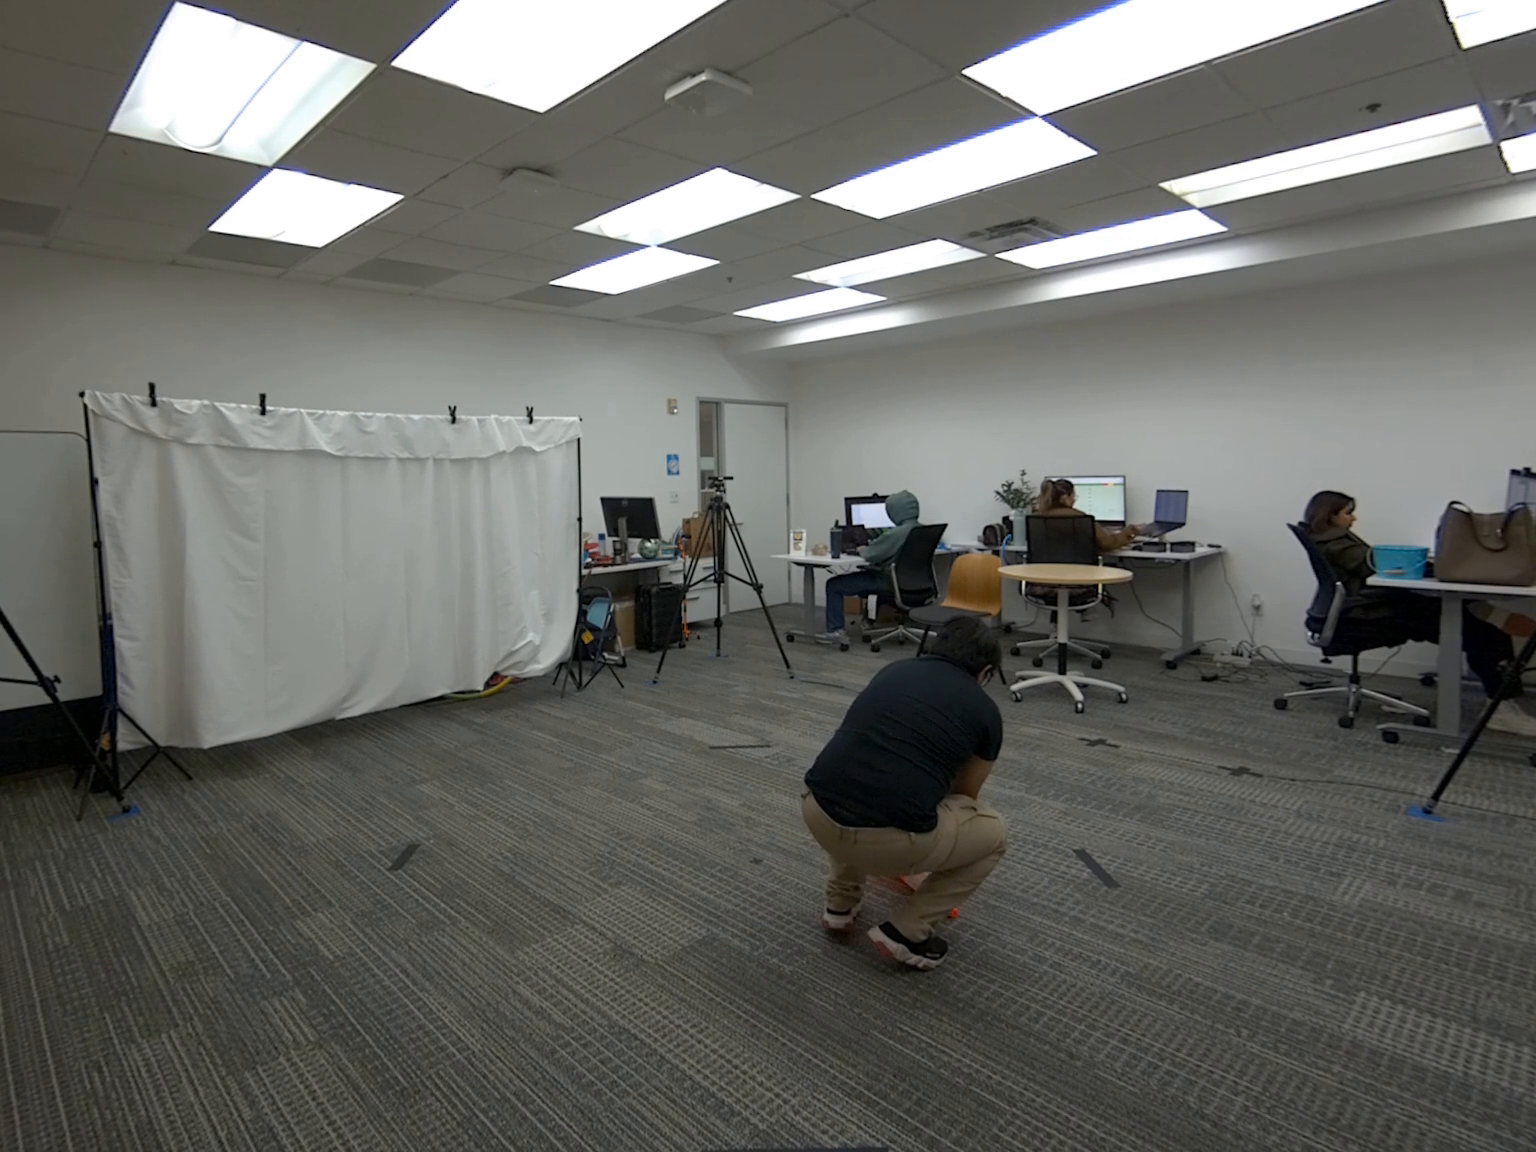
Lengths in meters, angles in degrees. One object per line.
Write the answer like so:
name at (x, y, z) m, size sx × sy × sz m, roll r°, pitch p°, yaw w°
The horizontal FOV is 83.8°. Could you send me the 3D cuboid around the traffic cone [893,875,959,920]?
traffic cone at (0.535, 1.009, 2.852) m, size 0.201 × 0.200 × 0.397 m, roll -7°, pitch 20°, yaw -24°
